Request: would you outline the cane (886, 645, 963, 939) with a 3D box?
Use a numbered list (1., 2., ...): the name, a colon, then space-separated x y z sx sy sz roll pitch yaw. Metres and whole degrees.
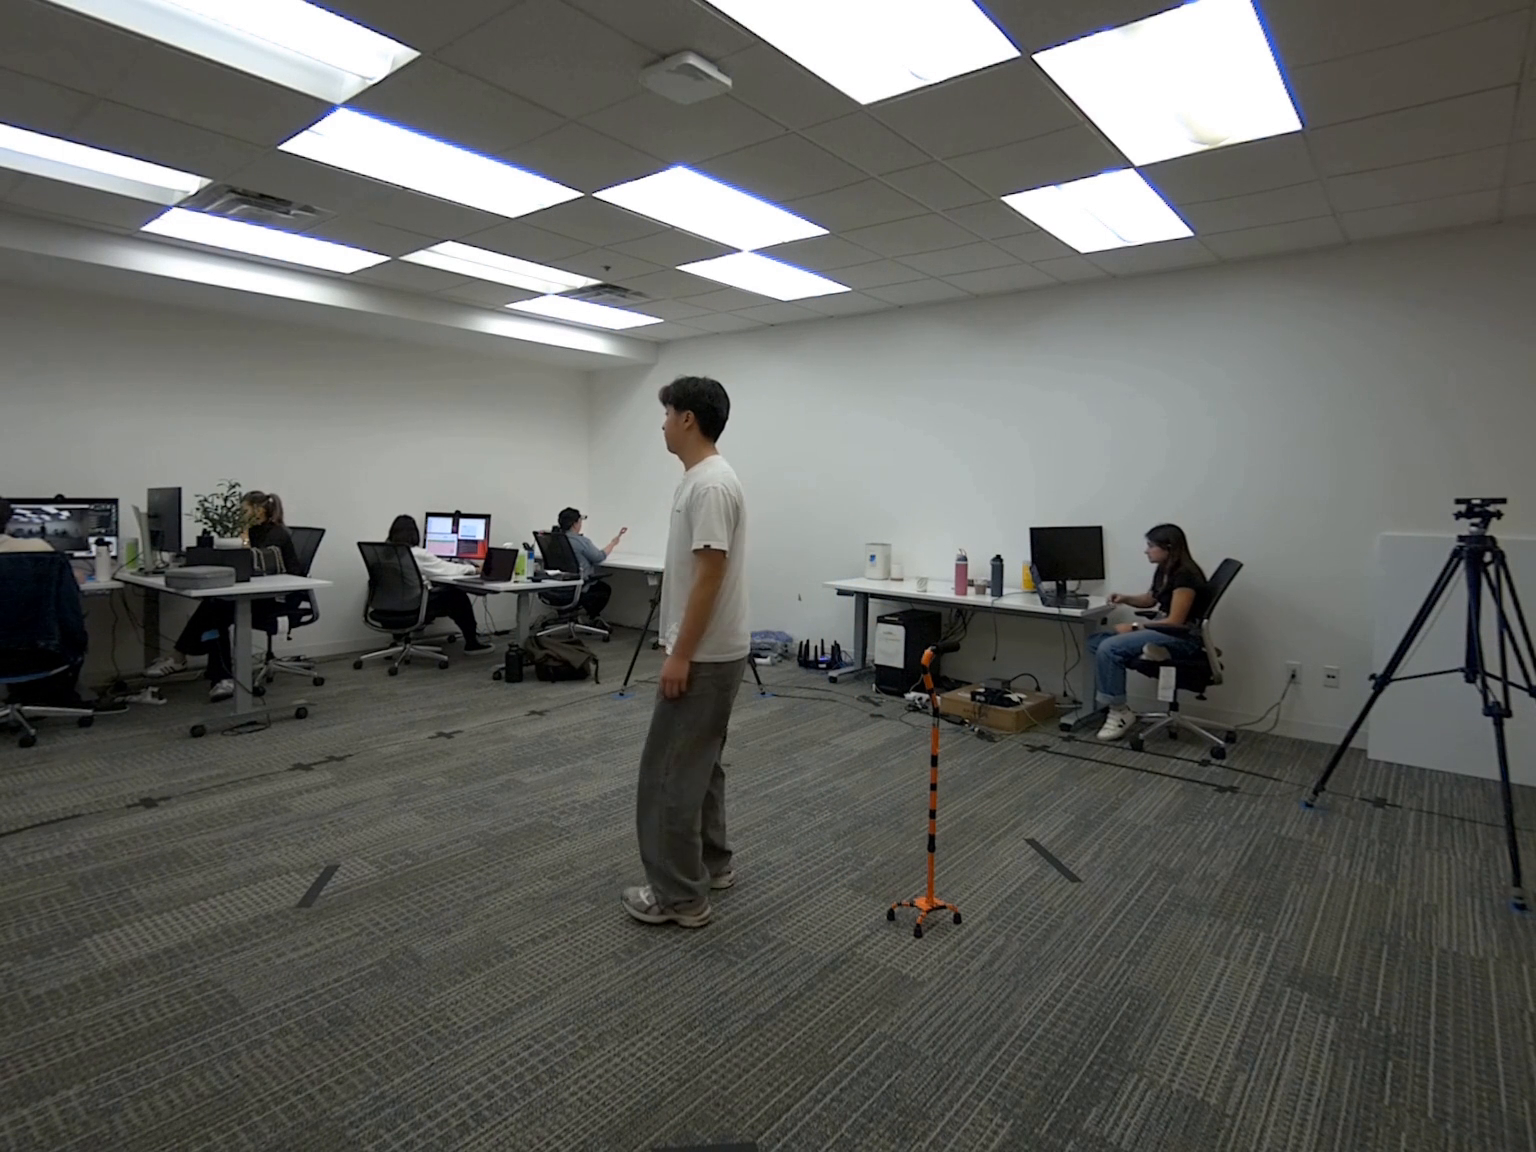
1. cane: 0.528 0.669 2.744 0.201 0.905 0.156 -1 4 -32
